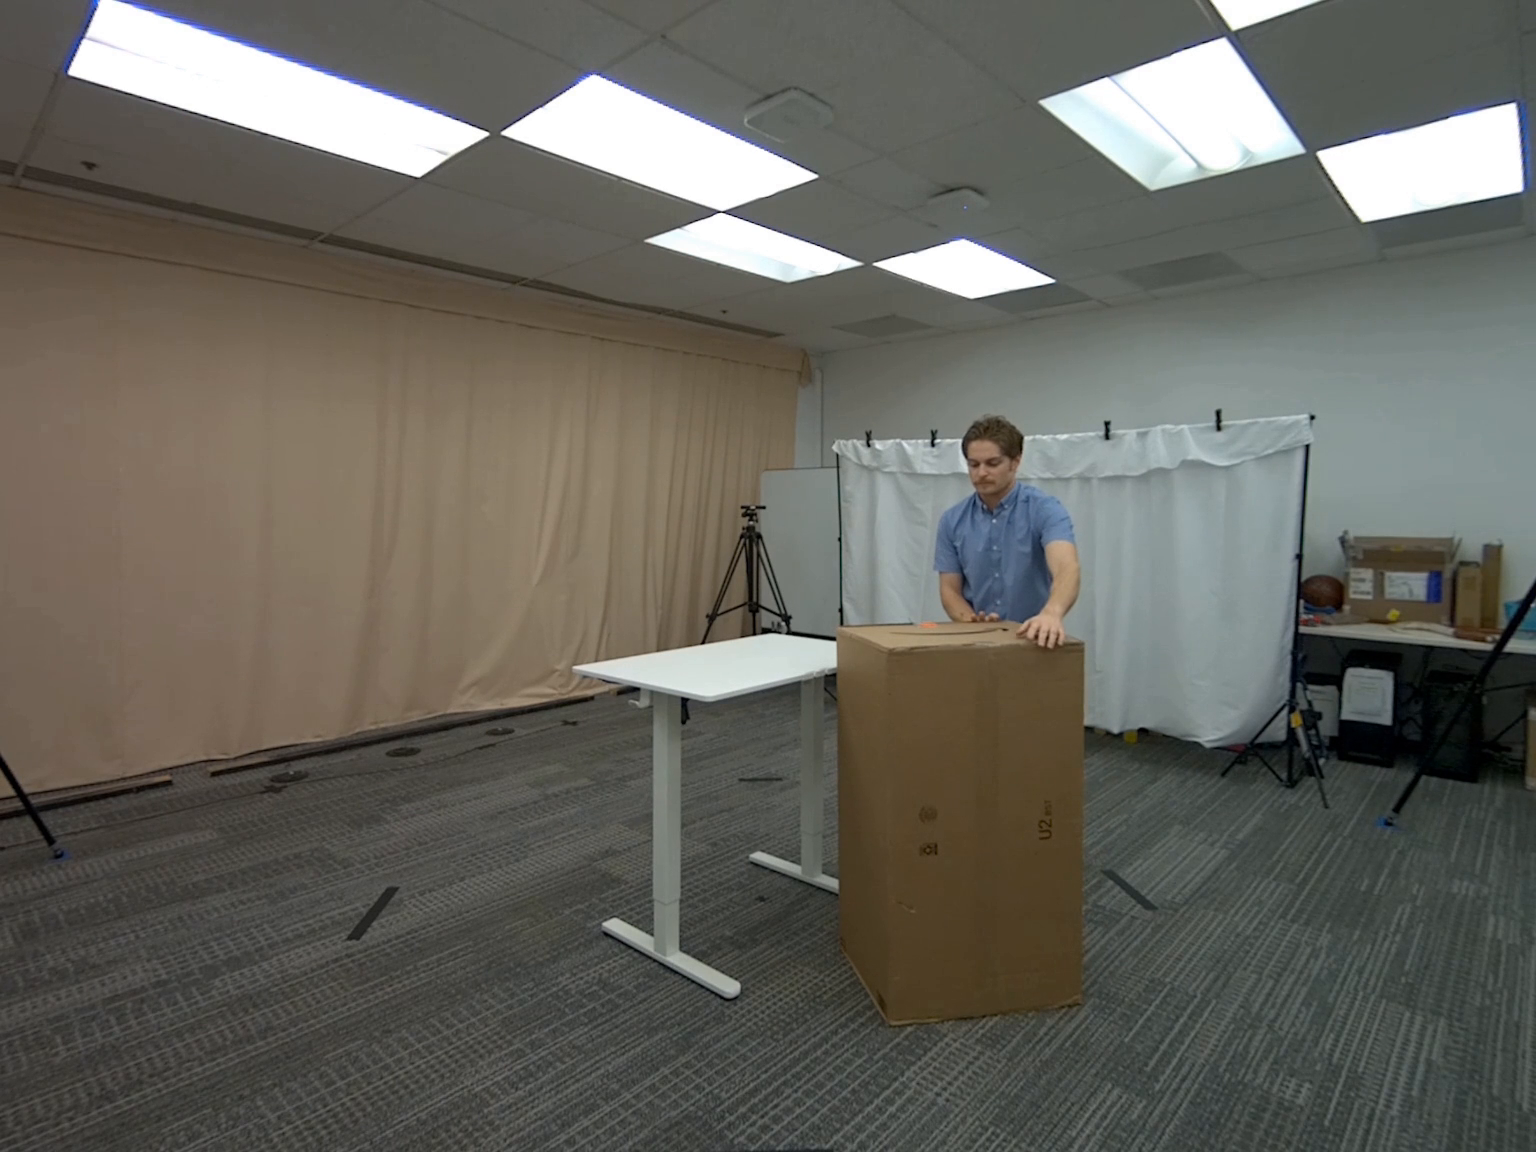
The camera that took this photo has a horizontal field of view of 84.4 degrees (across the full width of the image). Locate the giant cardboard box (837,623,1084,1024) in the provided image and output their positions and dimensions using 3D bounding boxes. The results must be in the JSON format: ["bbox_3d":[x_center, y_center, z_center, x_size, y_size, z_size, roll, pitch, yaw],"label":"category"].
[{"bbox_3d":[0.547,0.671,2.476,0.571,1.023,0.432,-2,3,-11],"label":"giant cardboard box"}]
